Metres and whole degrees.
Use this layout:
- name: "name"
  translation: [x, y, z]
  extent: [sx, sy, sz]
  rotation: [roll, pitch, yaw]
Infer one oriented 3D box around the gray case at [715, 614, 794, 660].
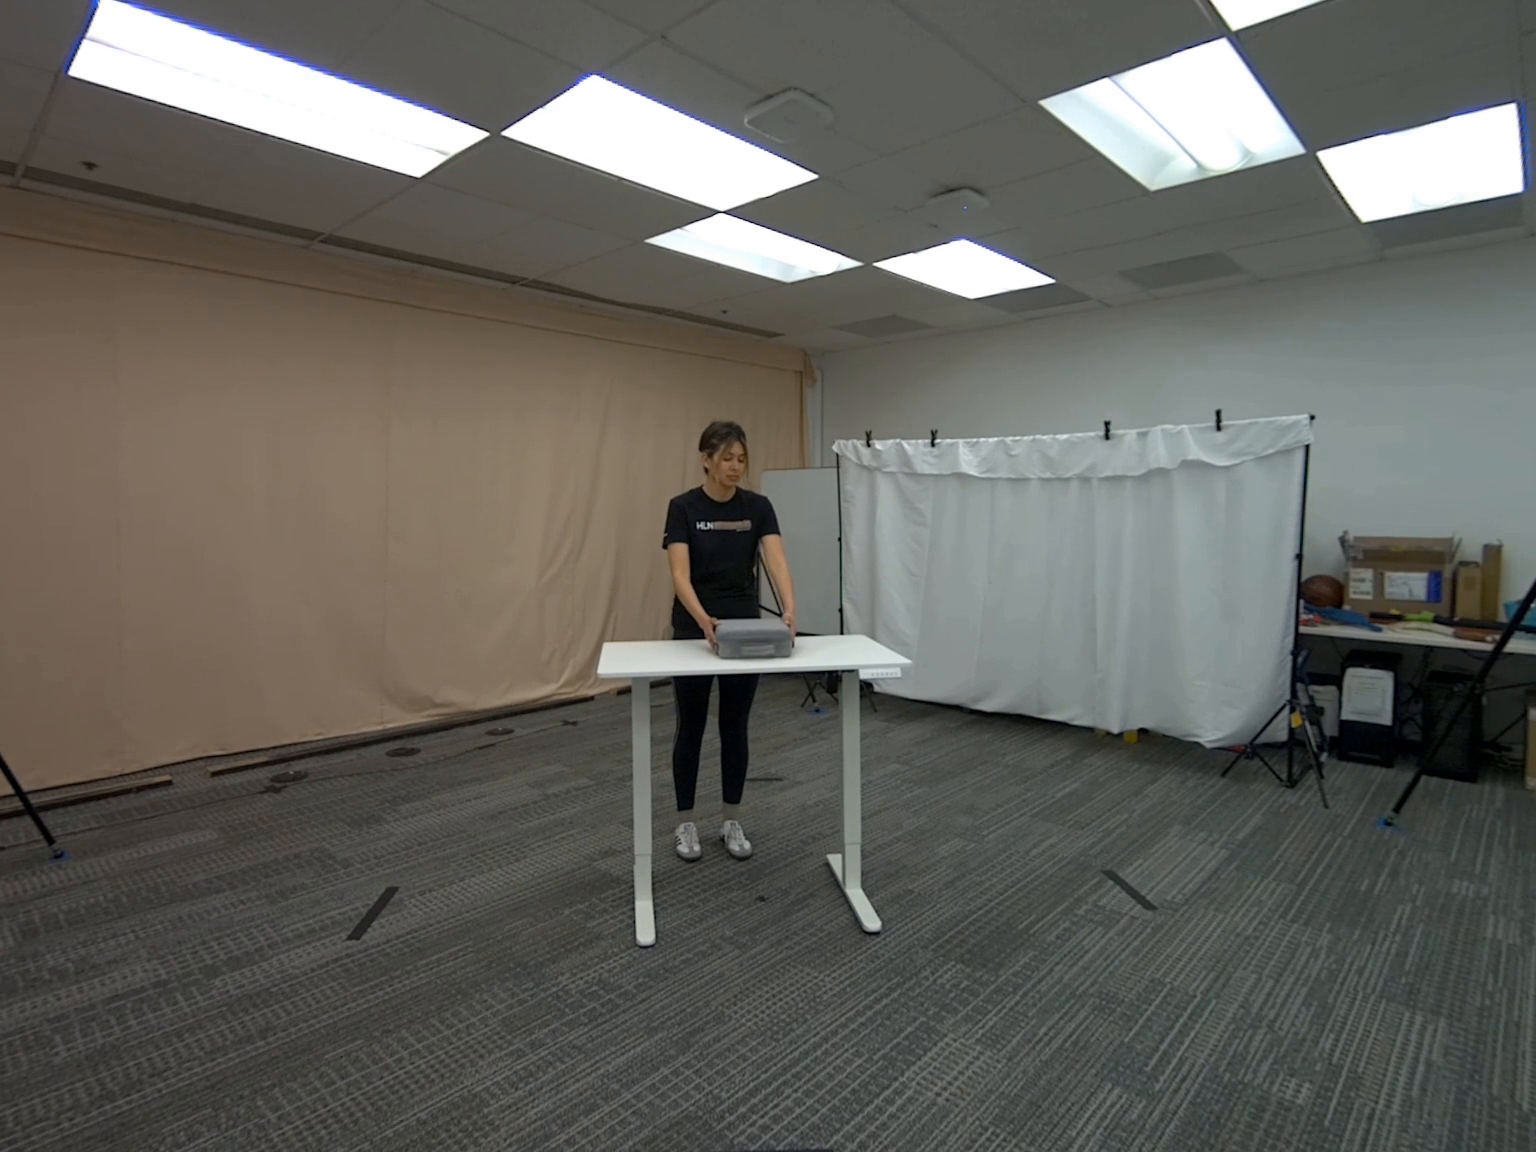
- name: "gray case"
  translation: [-0.050, 0.216, 2.910]
  extent: [0.255, 0.104, 0.263]
  rotation: [0, 5, -6]
